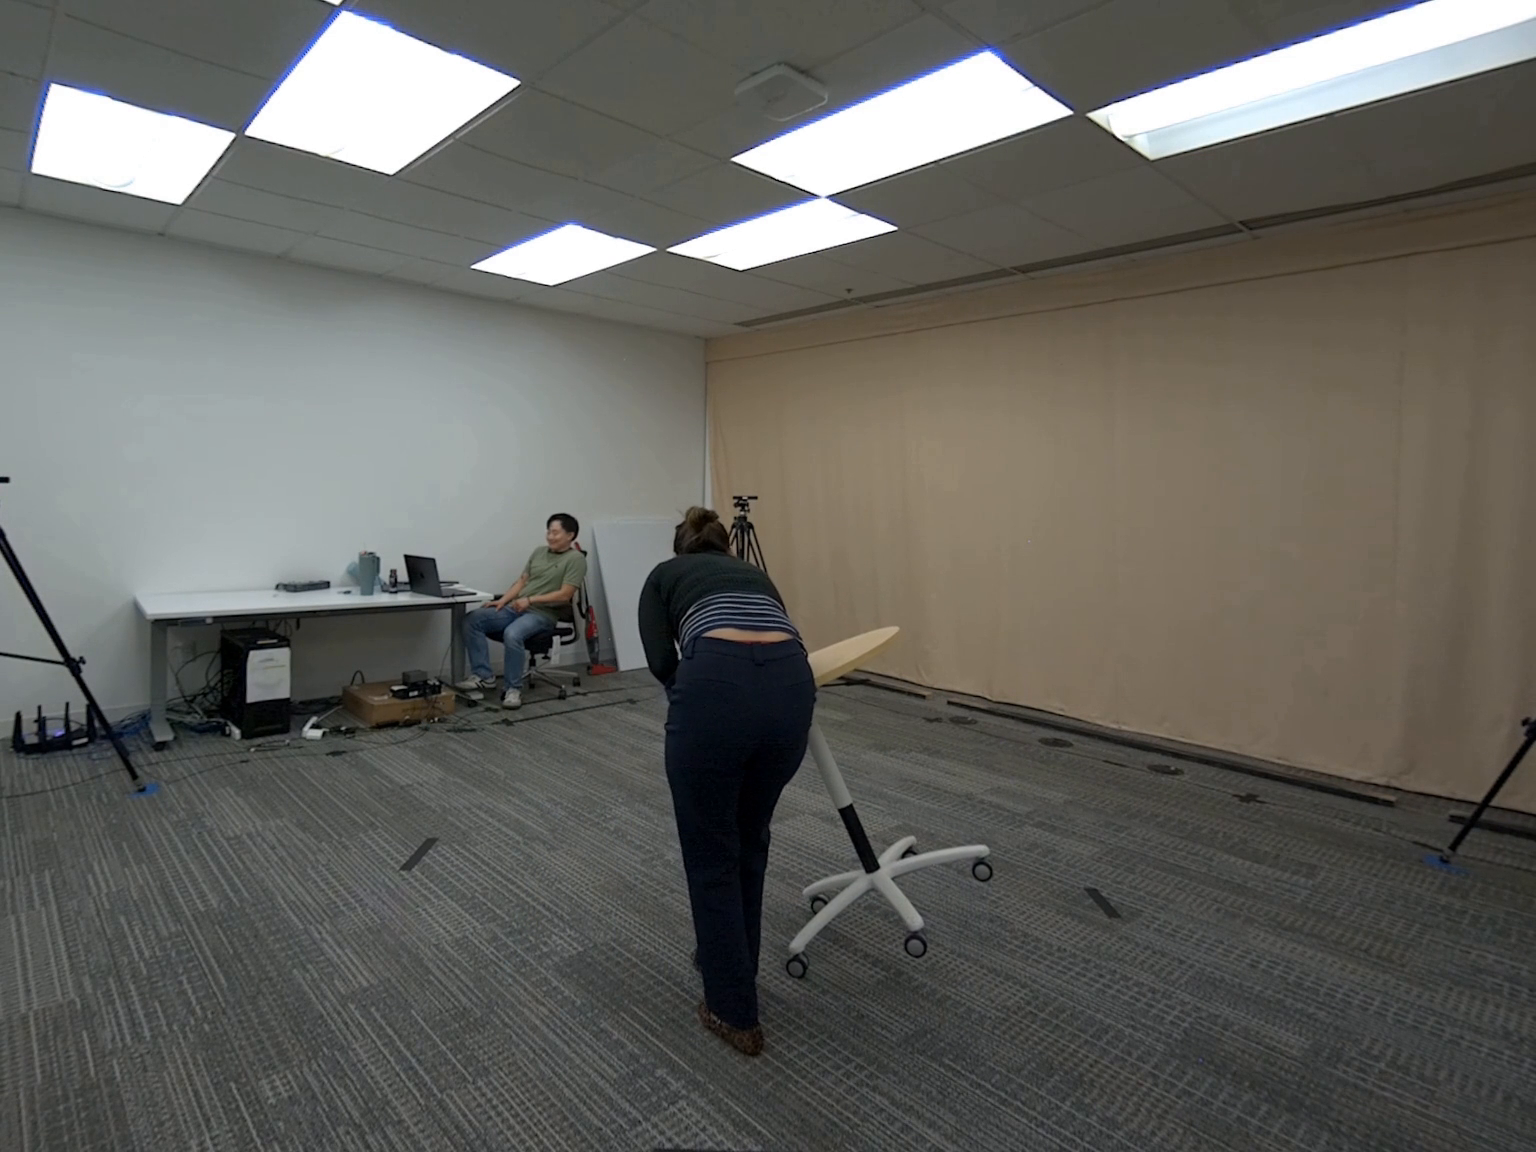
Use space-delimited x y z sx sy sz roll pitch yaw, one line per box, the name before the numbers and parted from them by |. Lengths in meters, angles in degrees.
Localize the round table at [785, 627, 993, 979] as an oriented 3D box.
round table | 0.225 0.679 2.628 0.763 0.797 0.762 -23 -3 -3
